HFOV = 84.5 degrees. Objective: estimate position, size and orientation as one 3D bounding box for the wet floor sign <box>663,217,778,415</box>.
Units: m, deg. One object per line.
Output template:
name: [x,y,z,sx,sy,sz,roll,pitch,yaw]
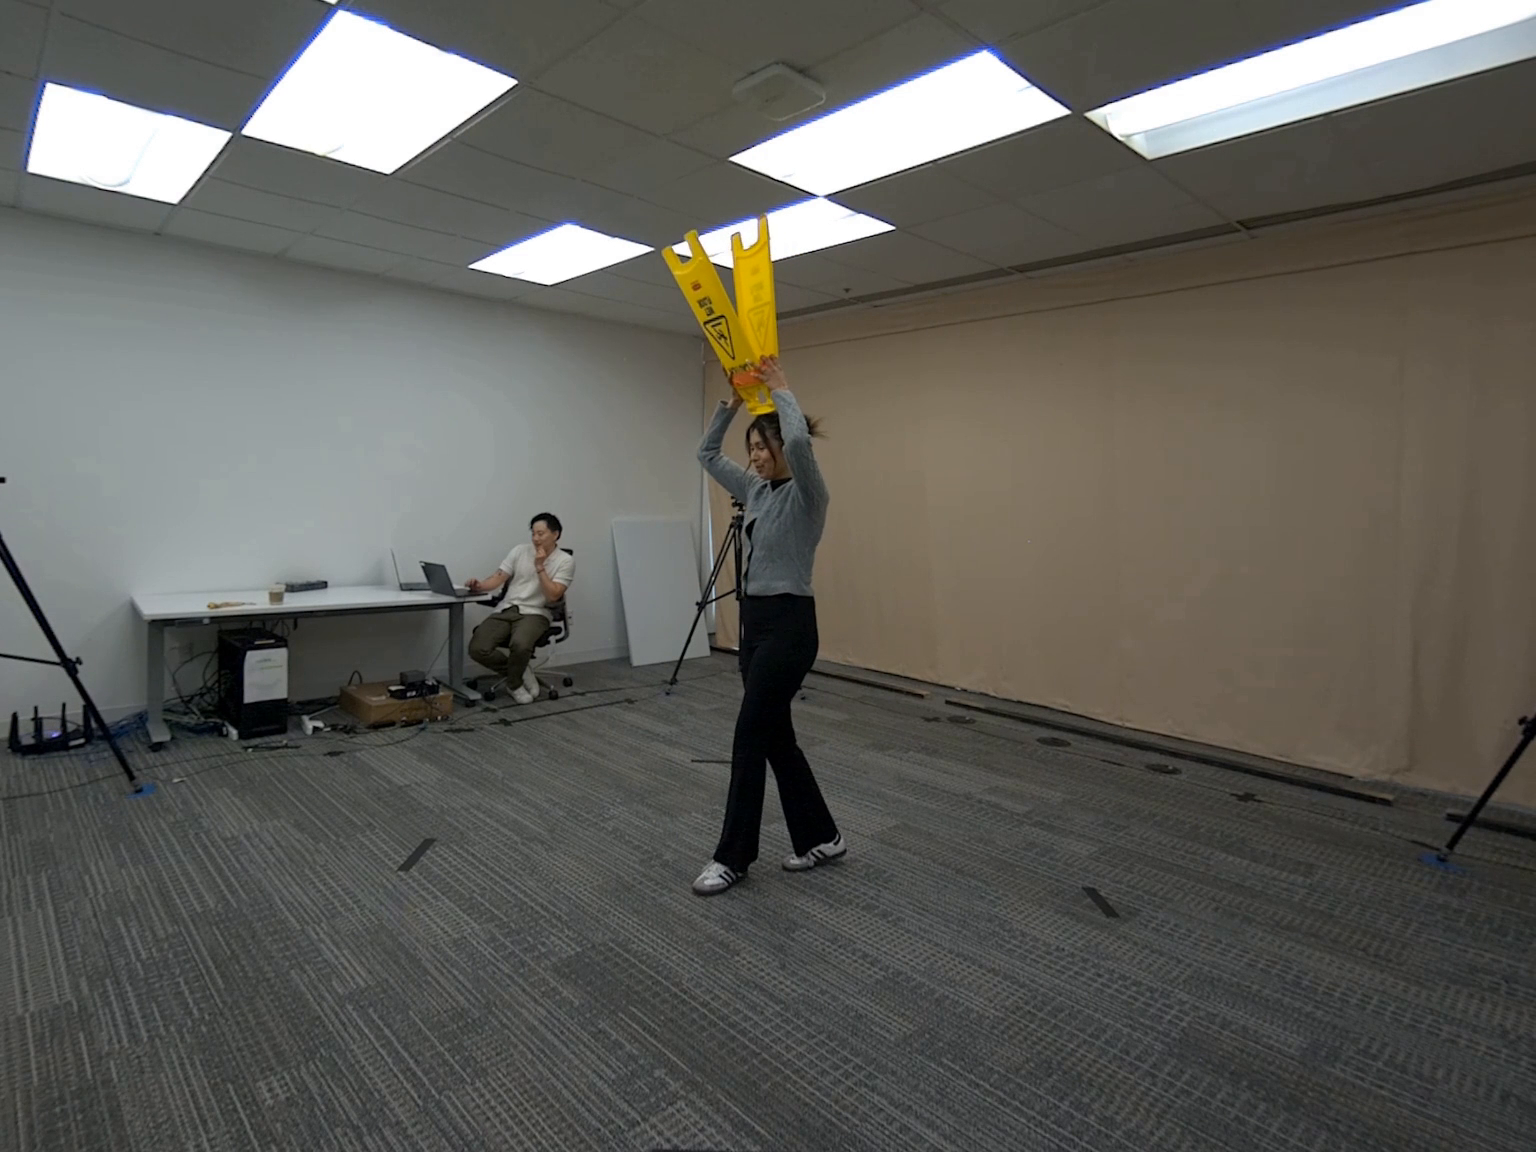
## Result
wet floor sign: [-0.101,-0.885,2.962,0.287,0.638,0.288,-23,15,-24]
